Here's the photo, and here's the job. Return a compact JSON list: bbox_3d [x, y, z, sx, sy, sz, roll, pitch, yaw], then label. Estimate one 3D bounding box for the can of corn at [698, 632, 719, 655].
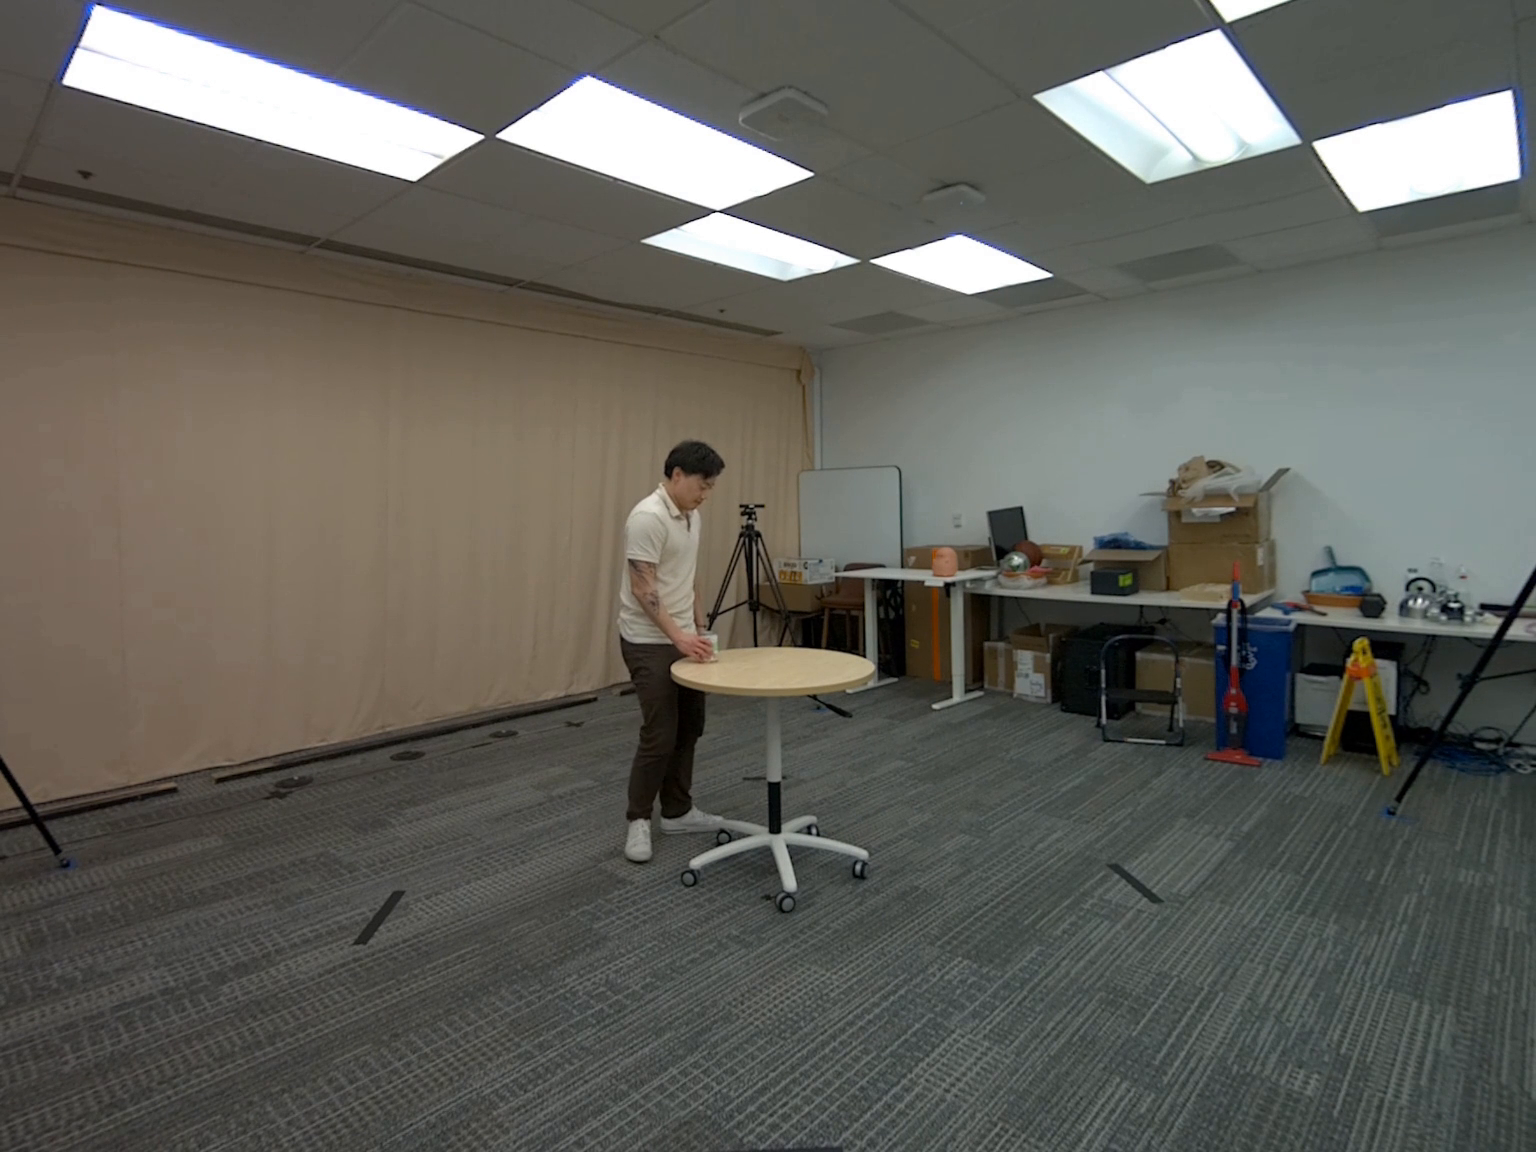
[{"bbox_3d":[-0.233,0.281,3.262,0.074,0.111,0.074,-4,2,-2],"label":"can of corn"}]
